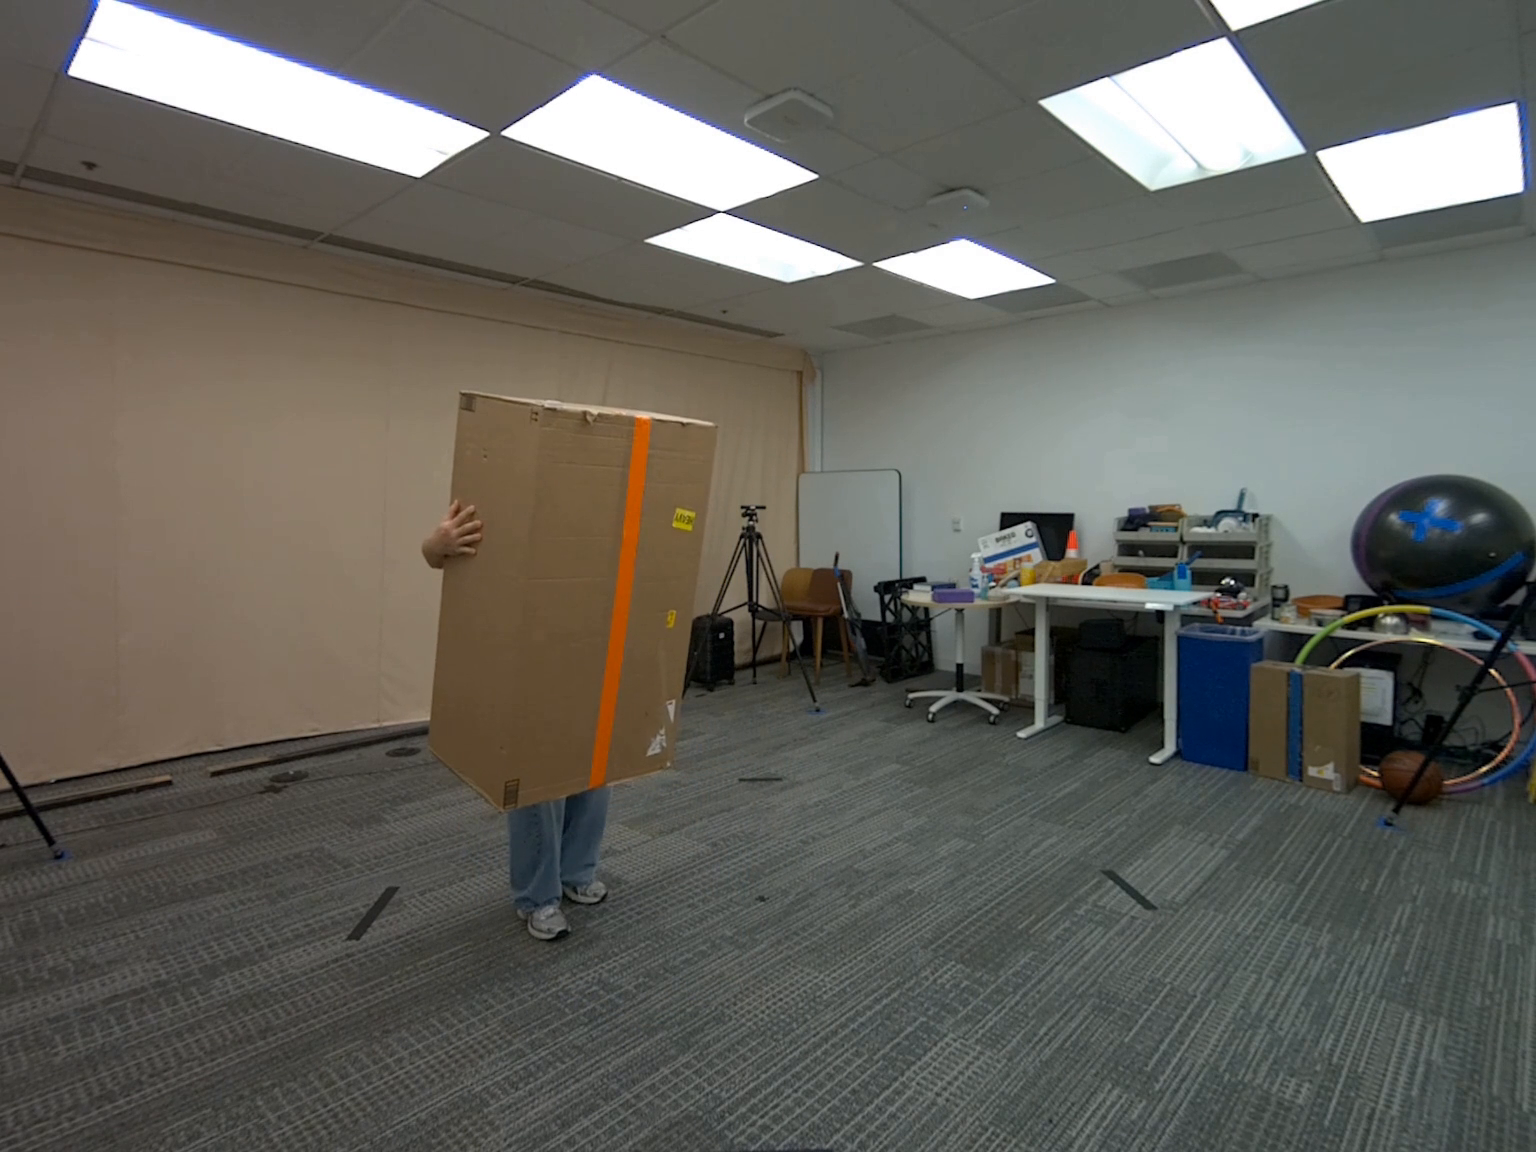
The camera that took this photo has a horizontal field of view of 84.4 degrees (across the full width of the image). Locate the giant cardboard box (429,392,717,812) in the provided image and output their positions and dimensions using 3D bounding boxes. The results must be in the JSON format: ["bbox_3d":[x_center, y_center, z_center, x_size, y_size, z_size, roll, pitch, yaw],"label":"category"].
[{"bbox_3d":[-0.541,0.041,2.366,0.442,1.021,0.559,17,12,42],"label":"giant cardboard box"}]
